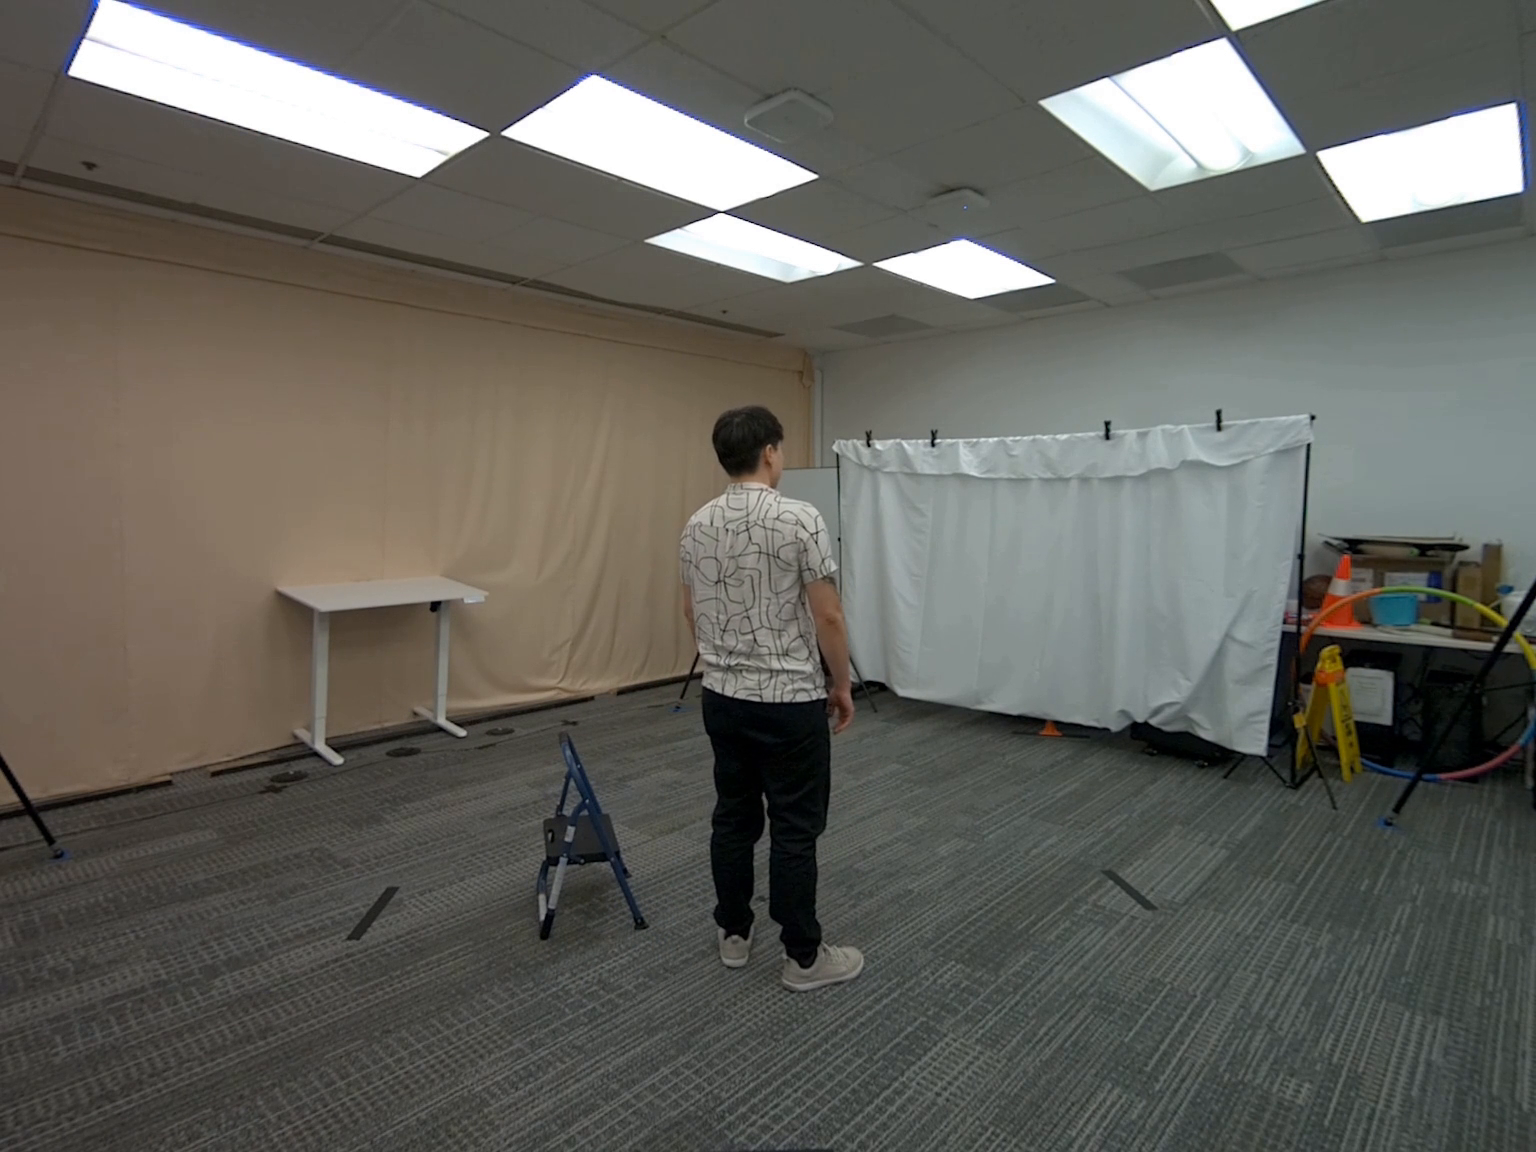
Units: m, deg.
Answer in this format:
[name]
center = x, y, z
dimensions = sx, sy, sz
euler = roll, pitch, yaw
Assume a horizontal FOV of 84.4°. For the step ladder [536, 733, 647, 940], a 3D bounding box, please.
[step ladder]
center = -0.629, 0.849, 2.925
dimensions = 0.344, 0.605, 0.438
euler = -1, 3, -17
